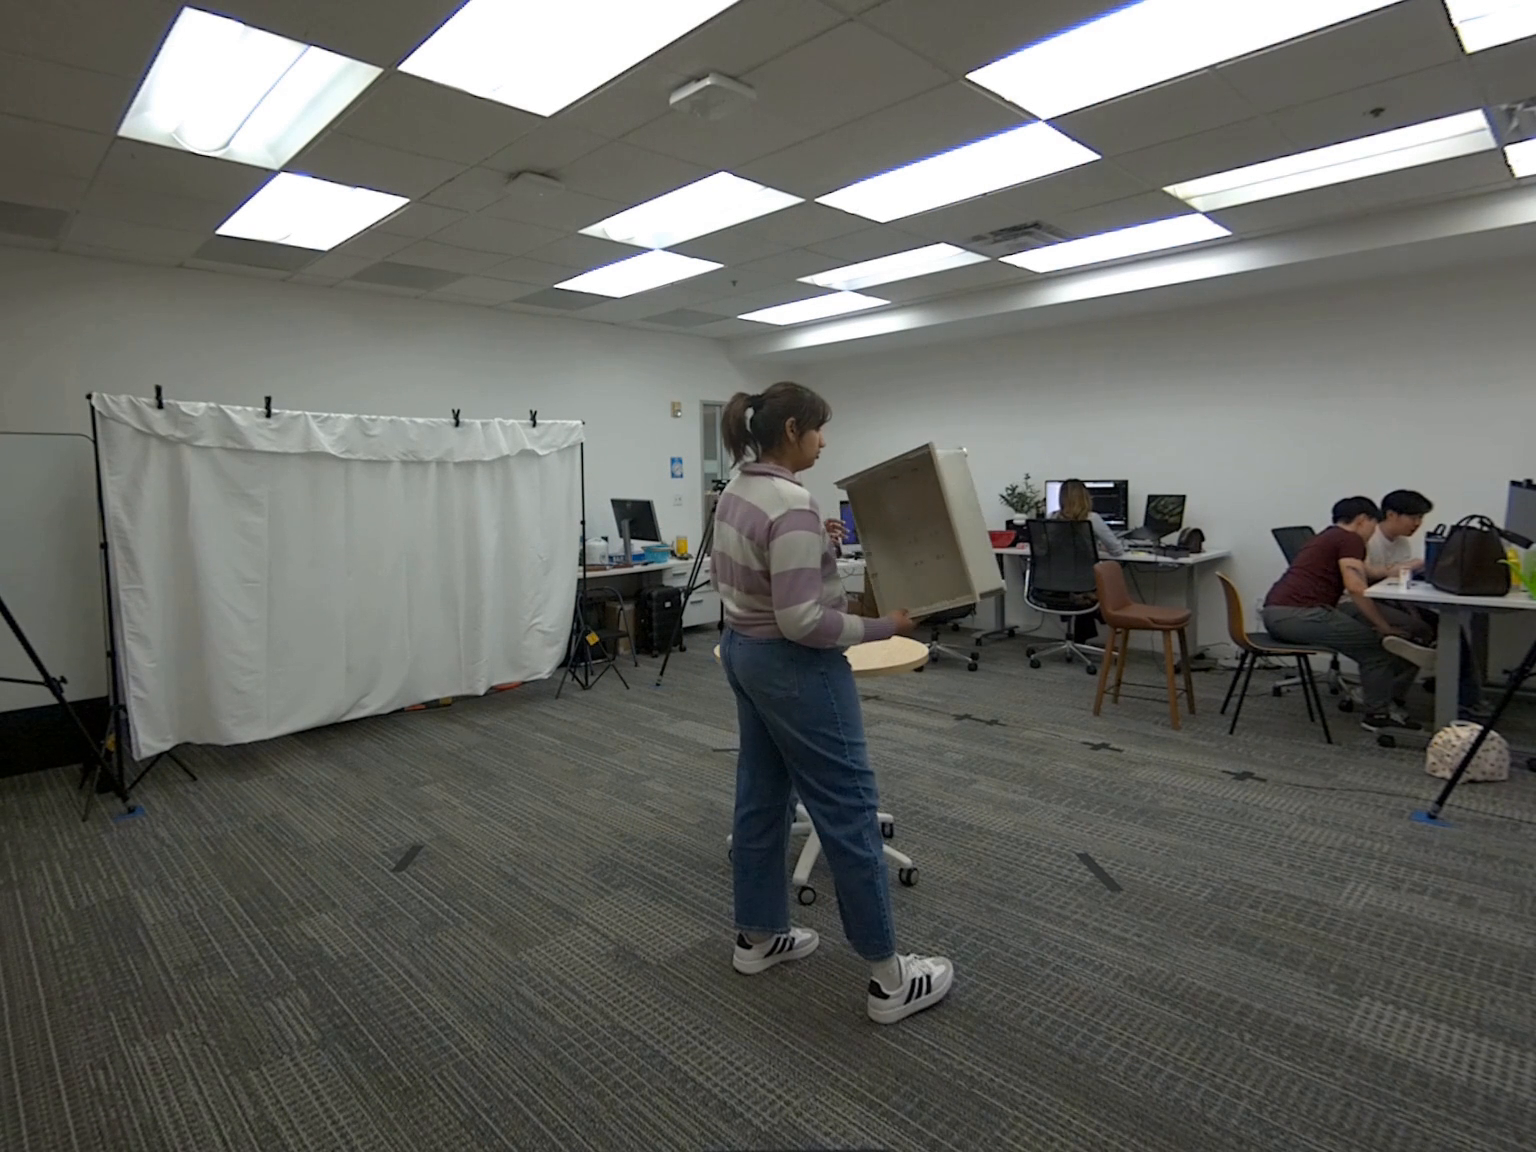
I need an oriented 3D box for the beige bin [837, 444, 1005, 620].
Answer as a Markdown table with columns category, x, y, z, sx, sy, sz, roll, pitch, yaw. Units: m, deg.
| category | x | y | z | sx | sy | sz | roll | pitch | yaw |
| --- | --- | --- | --- | --- | --- | --- | --- | --- | --- |
| beige bin | 0.401 | -0.105 | 2.345 | 0.184 | 0.426 | 0.384 | -5 | -12 | -46 |
